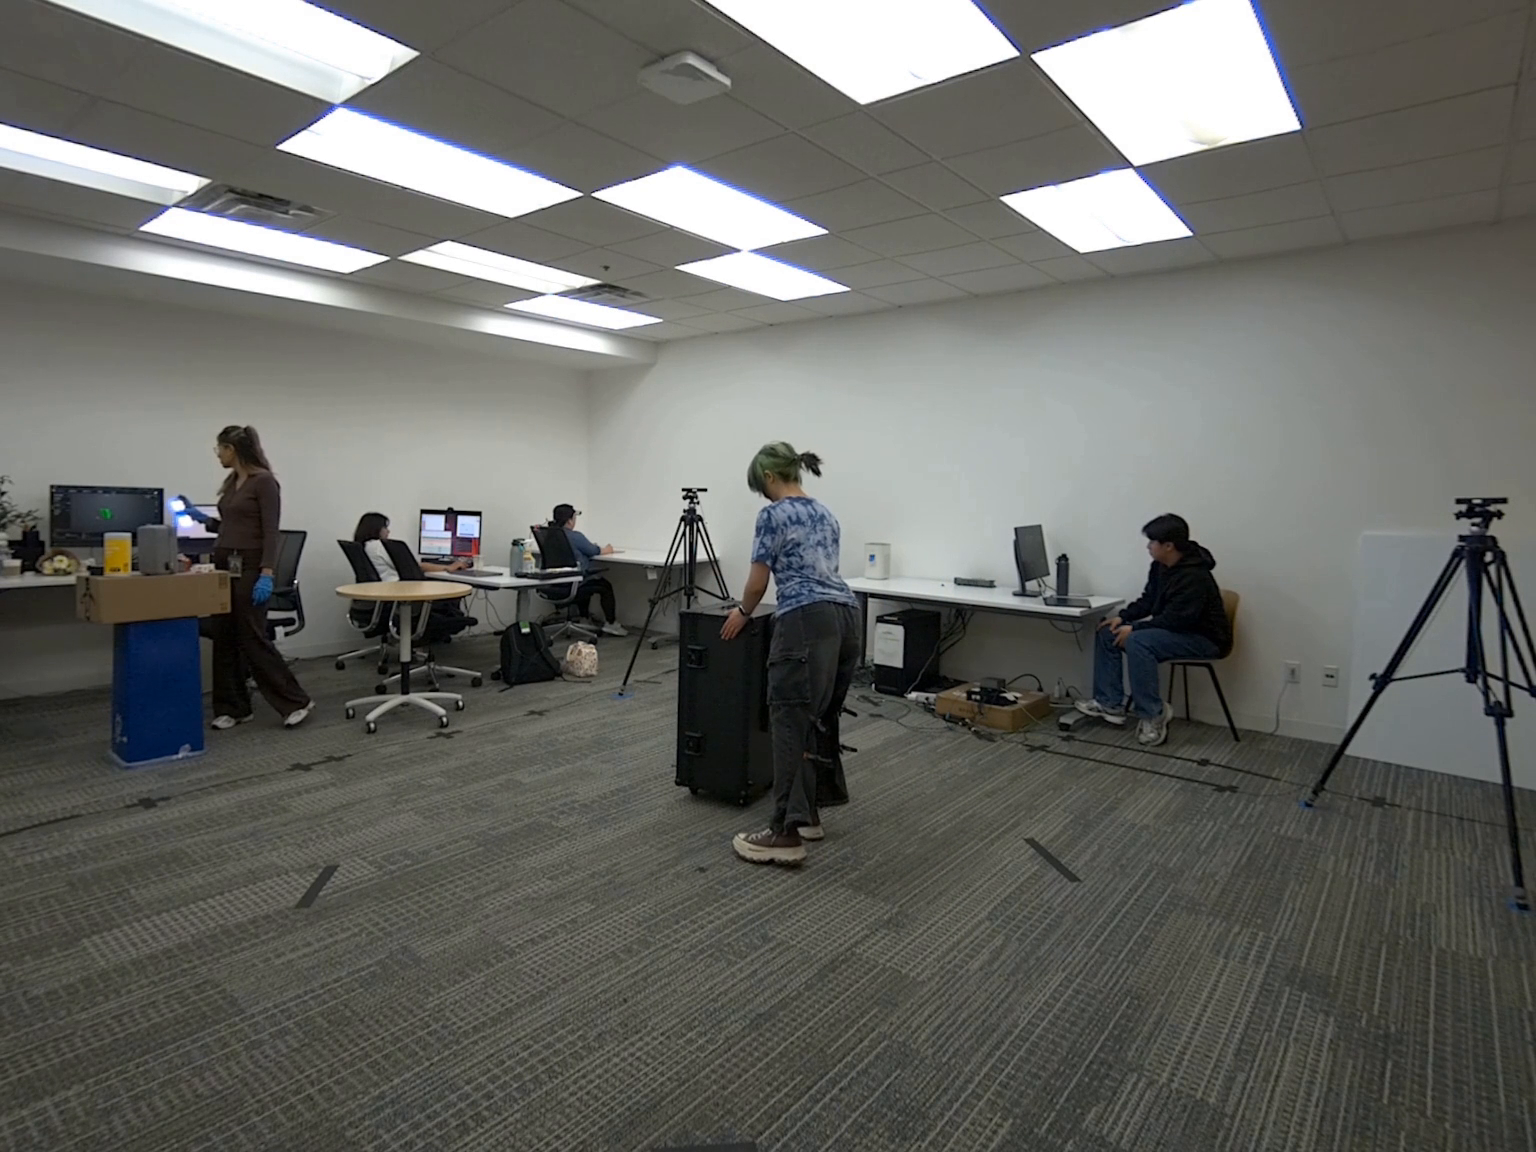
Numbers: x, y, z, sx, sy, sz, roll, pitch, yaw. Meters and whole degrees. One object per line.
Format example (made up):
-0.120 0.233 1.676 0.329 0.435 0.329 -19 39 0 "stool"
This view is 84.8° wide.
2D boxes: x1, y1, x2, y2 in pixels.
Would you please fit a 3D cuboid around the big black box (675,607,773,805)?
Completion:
-0.145 0.569 3.904 0.407 0.859 0.509 3 4 27 "big black box"
